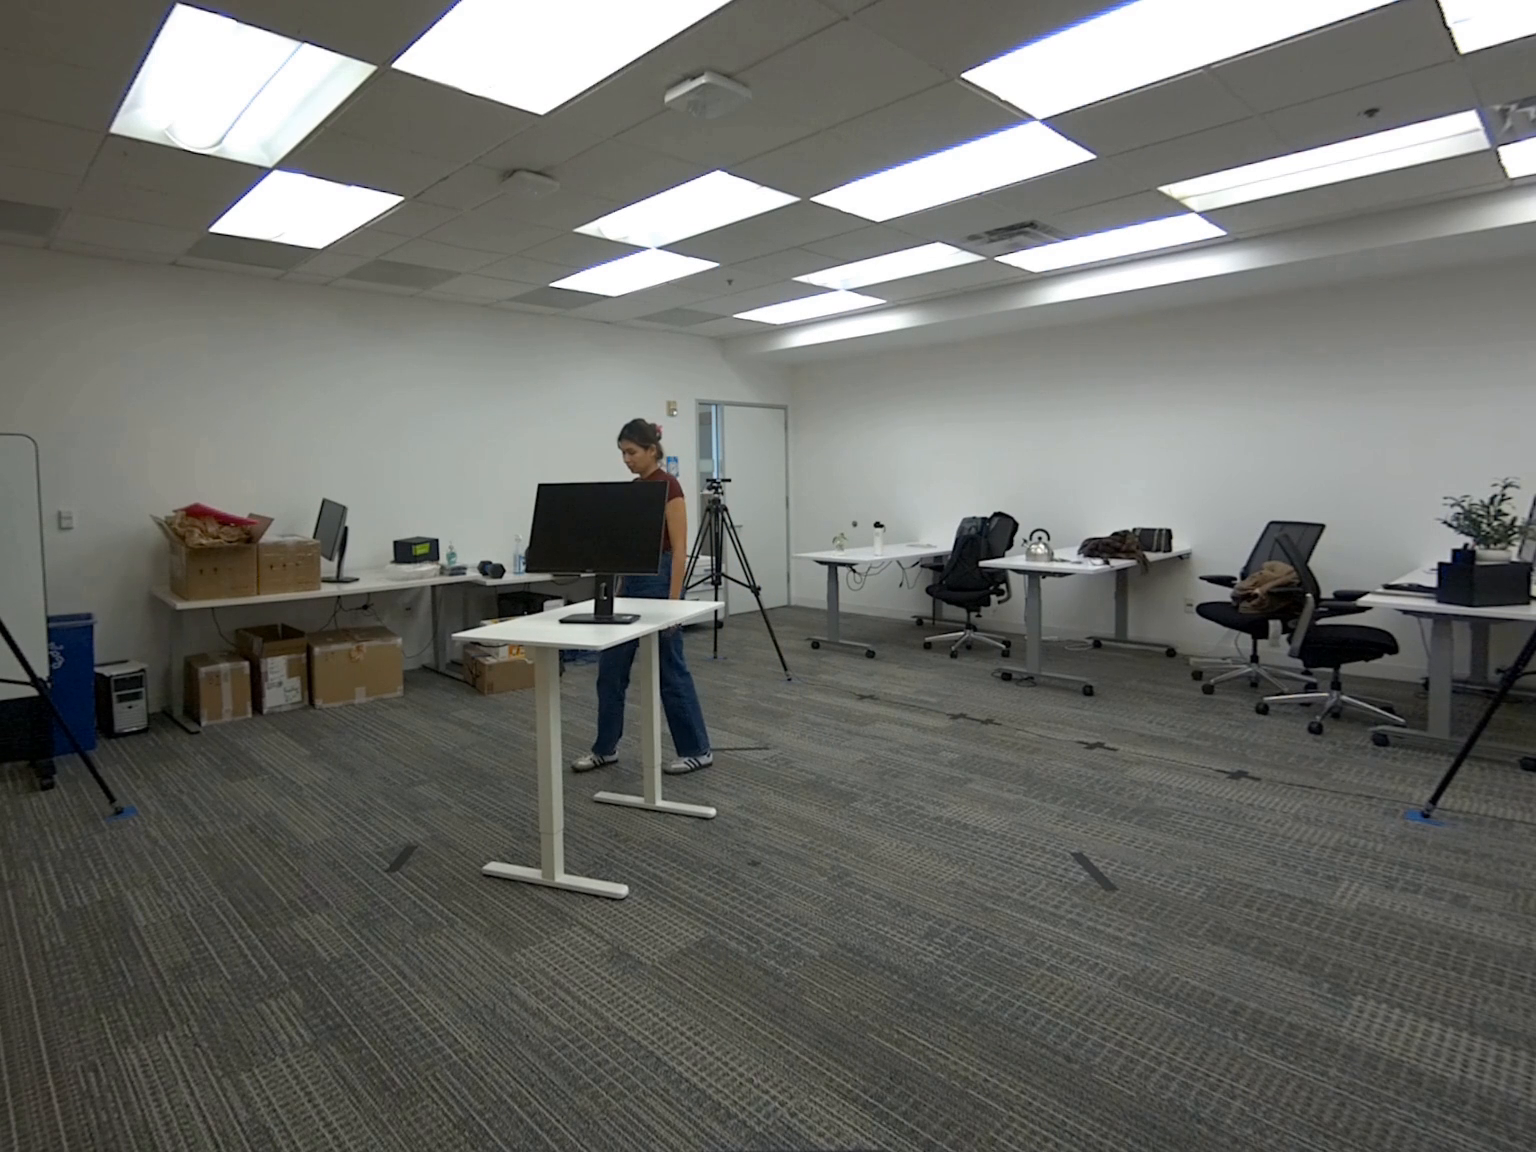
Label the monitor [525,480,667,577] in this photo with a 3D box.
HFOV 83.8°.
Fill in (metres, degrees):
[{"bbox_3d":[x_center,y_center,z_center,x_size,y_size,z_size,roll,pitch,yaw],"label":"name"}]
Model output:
[{"bbox_3d":[-0.629,-0.086,3.184,0.547,0.522,0.184,0,1,15],"label":"monitor"}]
